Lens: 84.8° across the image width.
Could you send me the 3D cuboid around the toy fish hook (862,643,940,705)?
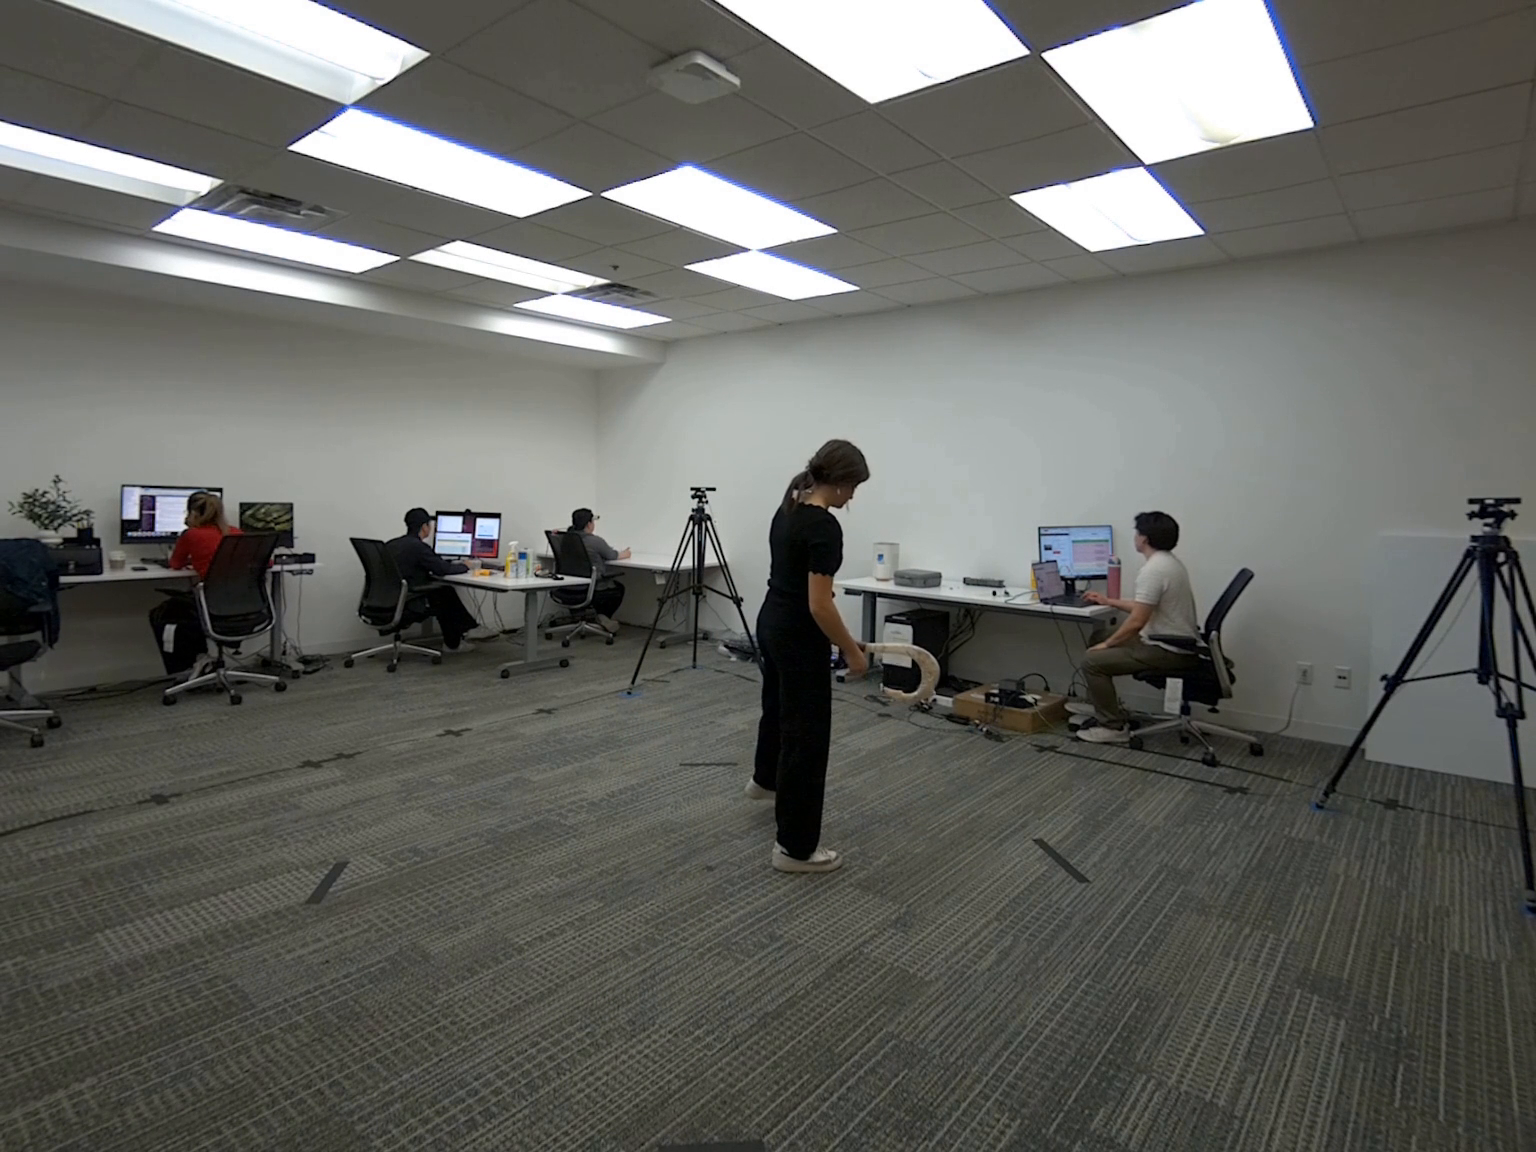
[{"bbox_3d":[0.405,0.343,3.303,0.508,0.226,0.048,17,-13,2],"label":"toy fish hook"}]
